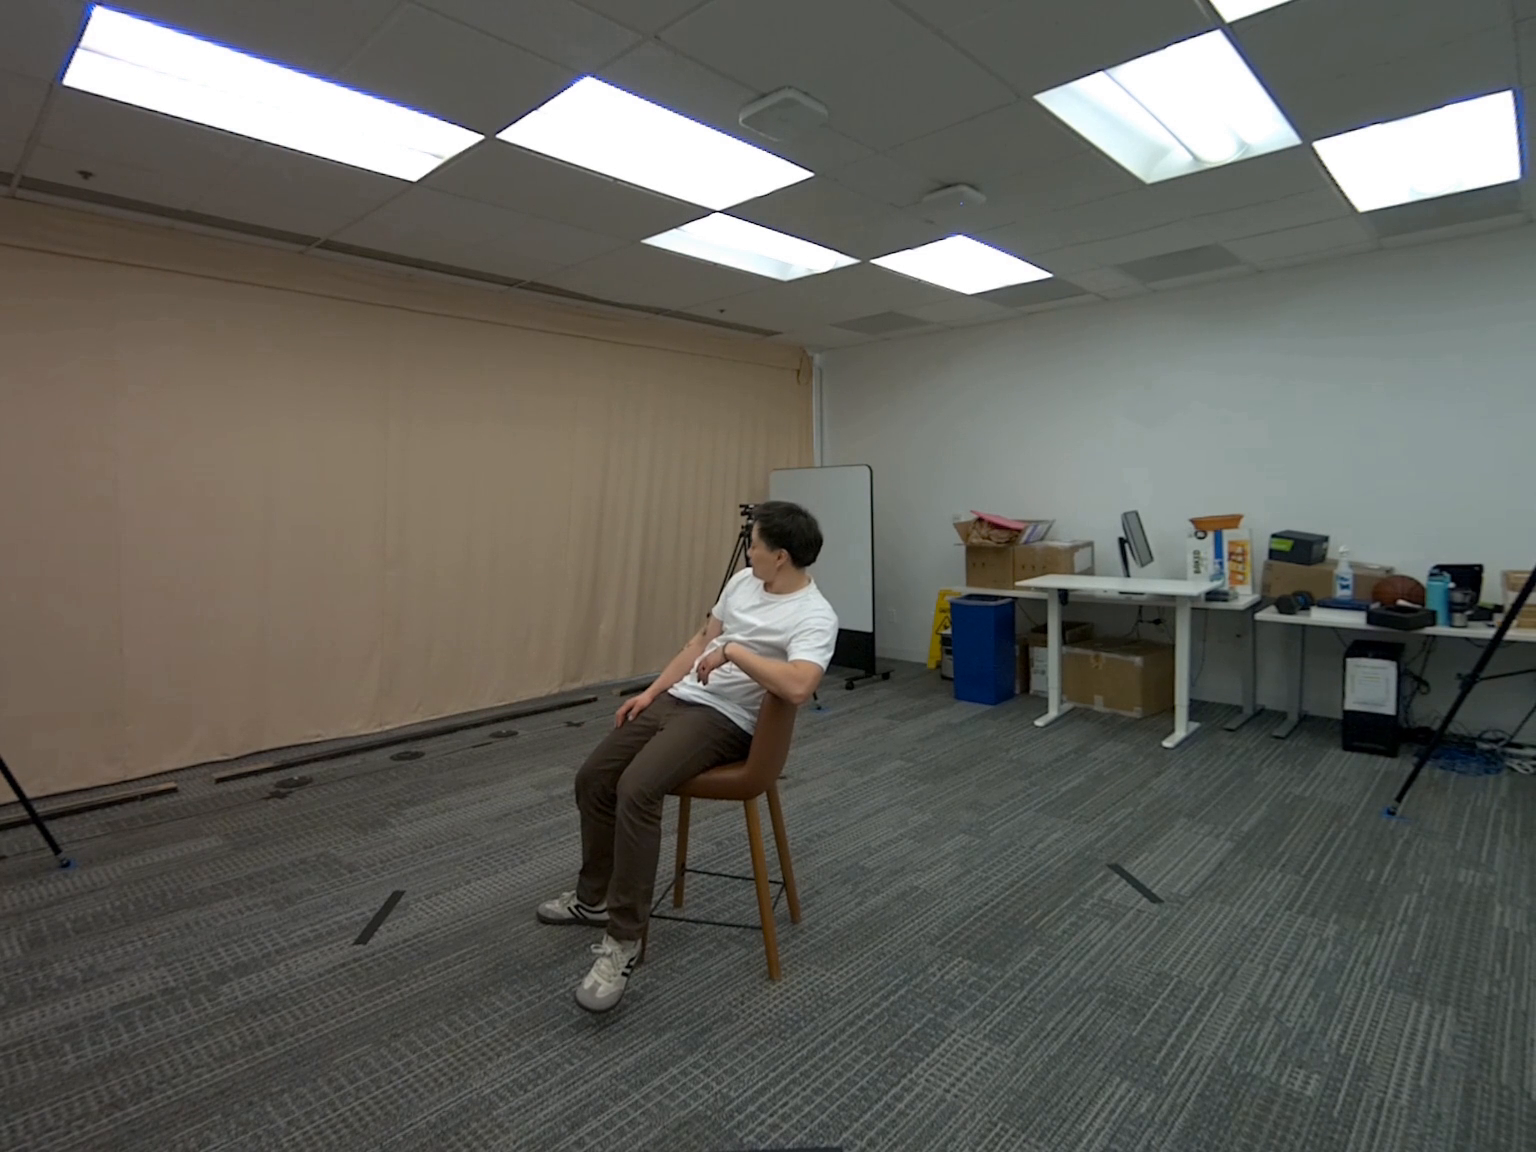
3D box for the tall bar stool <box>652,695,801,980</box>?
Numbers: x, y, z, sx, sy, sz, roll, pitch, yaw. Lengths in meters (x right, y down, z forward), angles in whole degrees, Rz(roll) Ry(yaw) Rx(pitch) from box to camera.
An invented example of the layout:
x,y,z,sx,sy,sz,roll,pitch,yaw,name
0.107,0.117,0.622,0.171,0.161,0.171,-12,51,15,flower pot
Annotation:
x,y,z,sx,sy,sz,roll,pitch,yaw,name
-0.149,0.742,2.669,0.476,0.887,0.450,1,5,15,tall bar stool
